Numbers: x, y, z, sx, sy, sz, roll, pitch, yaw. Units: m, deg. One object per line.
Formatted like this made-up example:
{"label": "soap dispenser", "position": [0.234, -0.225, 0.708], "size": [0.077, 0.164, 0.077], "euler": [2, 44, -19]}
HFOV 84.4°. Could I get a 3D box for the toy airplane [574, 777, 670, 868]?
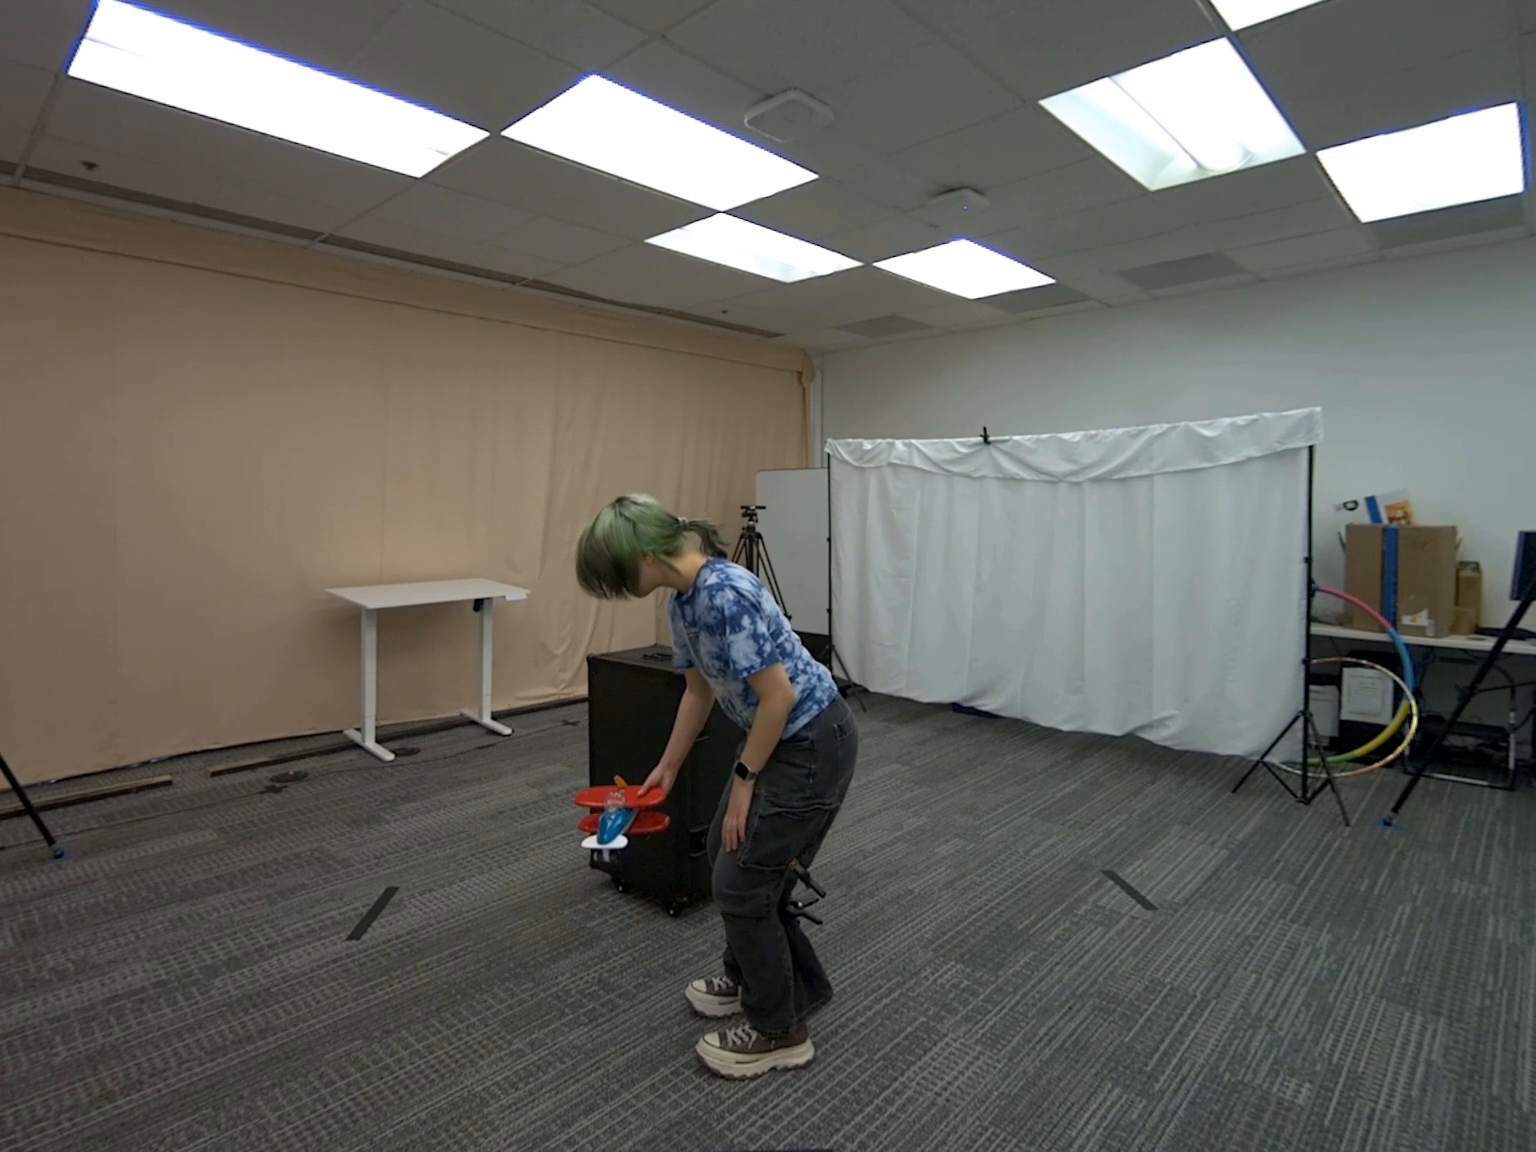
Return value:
{"label": "toy airplane", "position": [-0.394, 0.659, 2.264], "size": [0.247, 0.156, 0.263], "euler": [-3, 1, -16]}
